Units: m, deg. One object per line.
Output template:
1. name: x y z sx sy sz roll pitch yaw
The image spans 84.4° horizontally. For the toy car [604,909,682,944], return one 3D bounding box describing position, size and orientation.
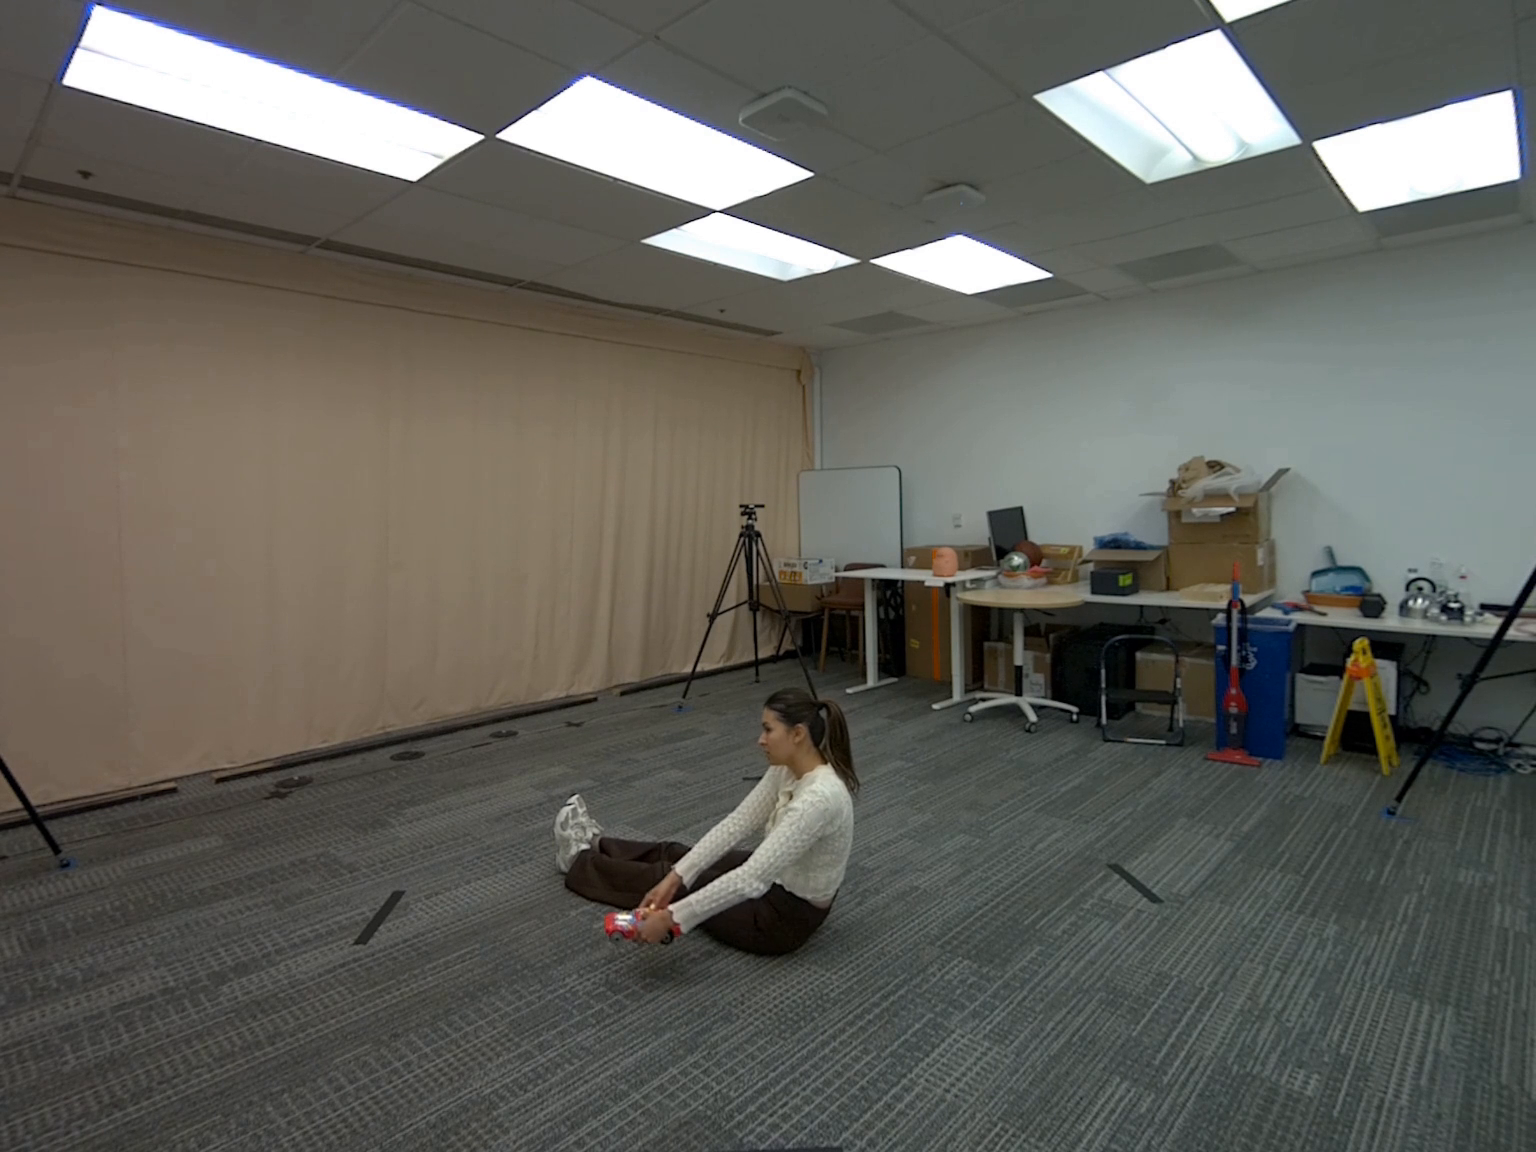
1. toy car: -0.357 1.048 2.527 0.252 0.083 0.132 -5 3 -10
